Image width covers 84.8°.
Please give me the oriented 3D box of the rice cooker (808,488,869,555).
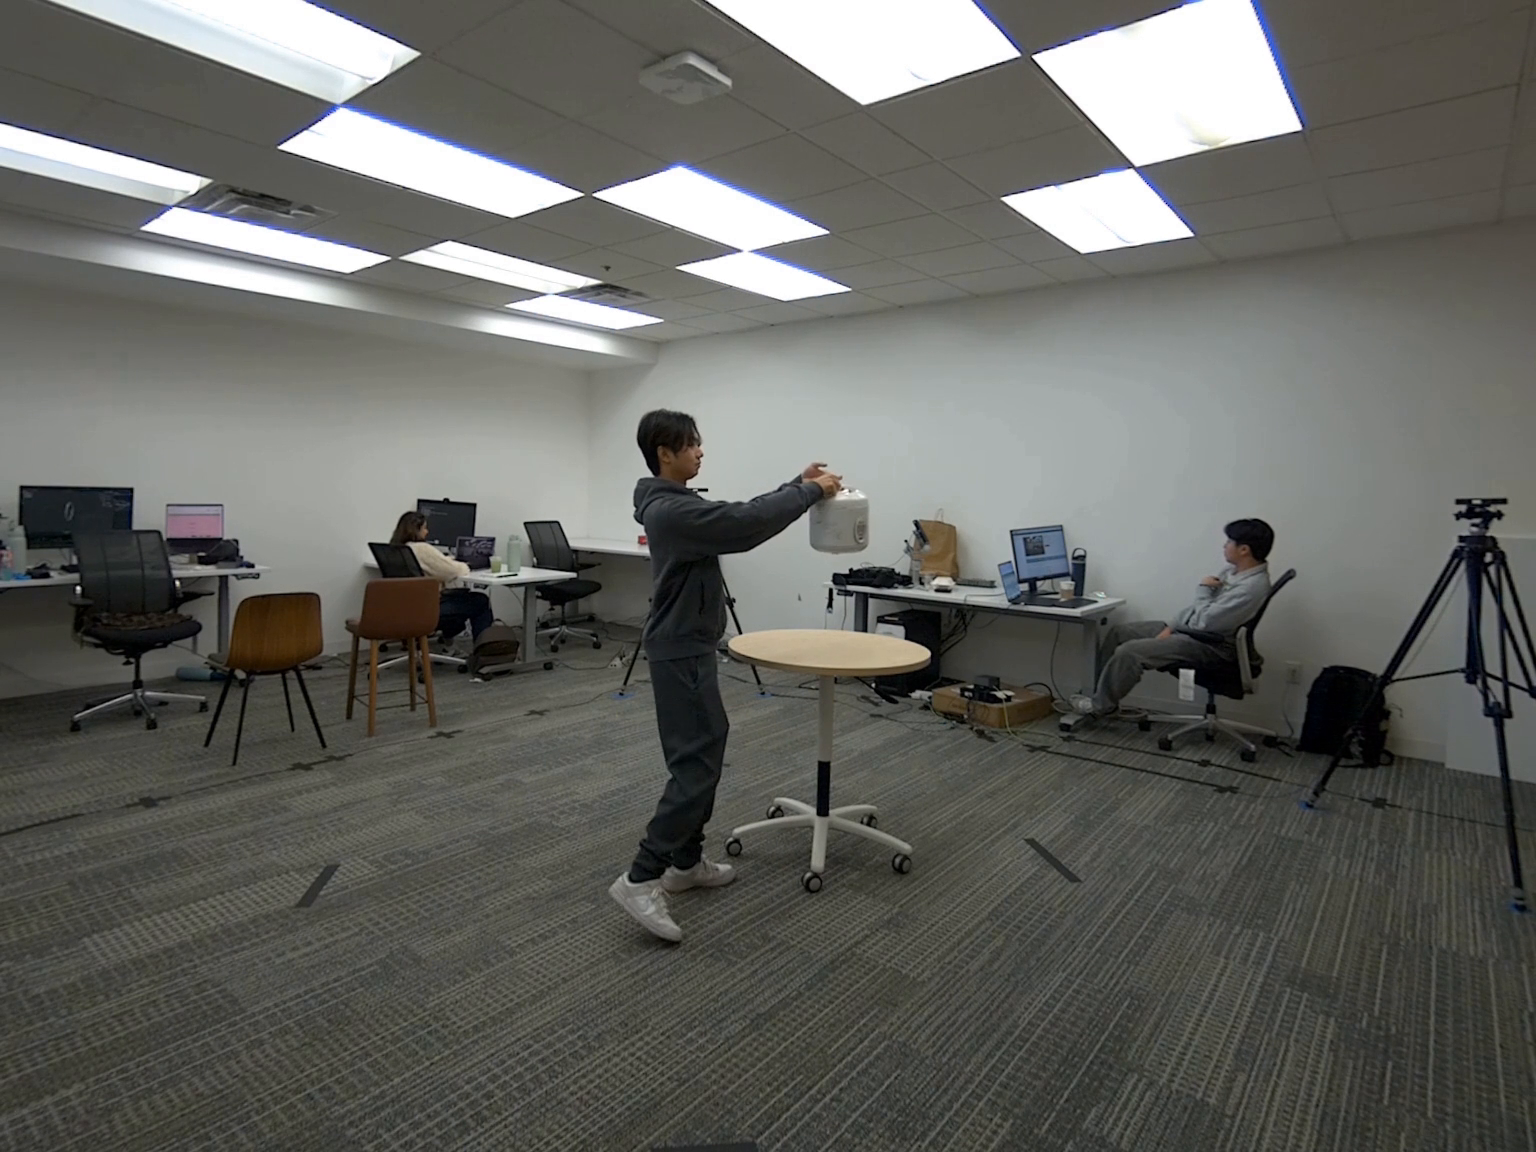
[{"bbox_3d":[0.243,-0.205,2.978,0.215,0.231,0.225,-8,10,-36],"label":"rice cooker"}]
